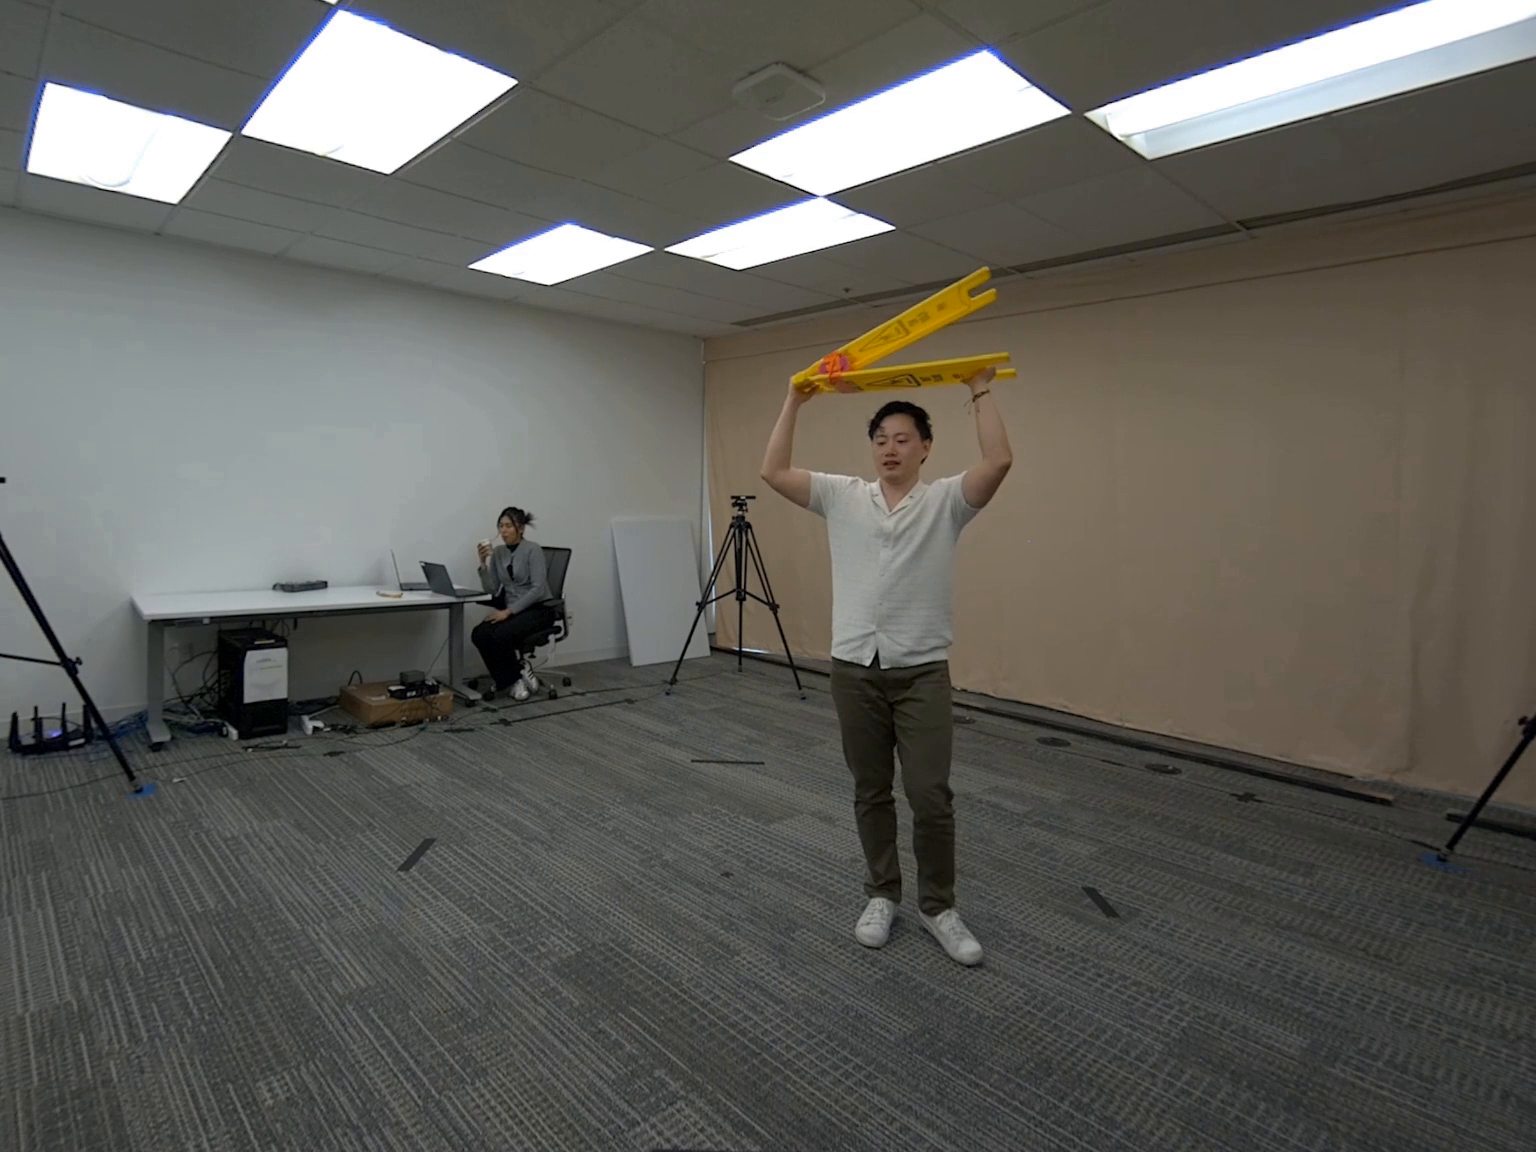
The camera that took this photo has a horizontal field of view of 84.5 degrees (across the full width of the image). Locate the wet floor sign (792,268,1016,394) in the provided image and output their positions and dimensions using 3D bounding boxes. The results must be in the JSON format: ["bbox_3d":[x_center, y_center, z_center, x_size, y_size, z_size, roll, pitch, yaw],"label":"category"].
[{"bbox_3d":[0.399,-0.675,2.608,0.654,0.291,0.277,-13,-7,22],"label":"wet floor sign"}]
